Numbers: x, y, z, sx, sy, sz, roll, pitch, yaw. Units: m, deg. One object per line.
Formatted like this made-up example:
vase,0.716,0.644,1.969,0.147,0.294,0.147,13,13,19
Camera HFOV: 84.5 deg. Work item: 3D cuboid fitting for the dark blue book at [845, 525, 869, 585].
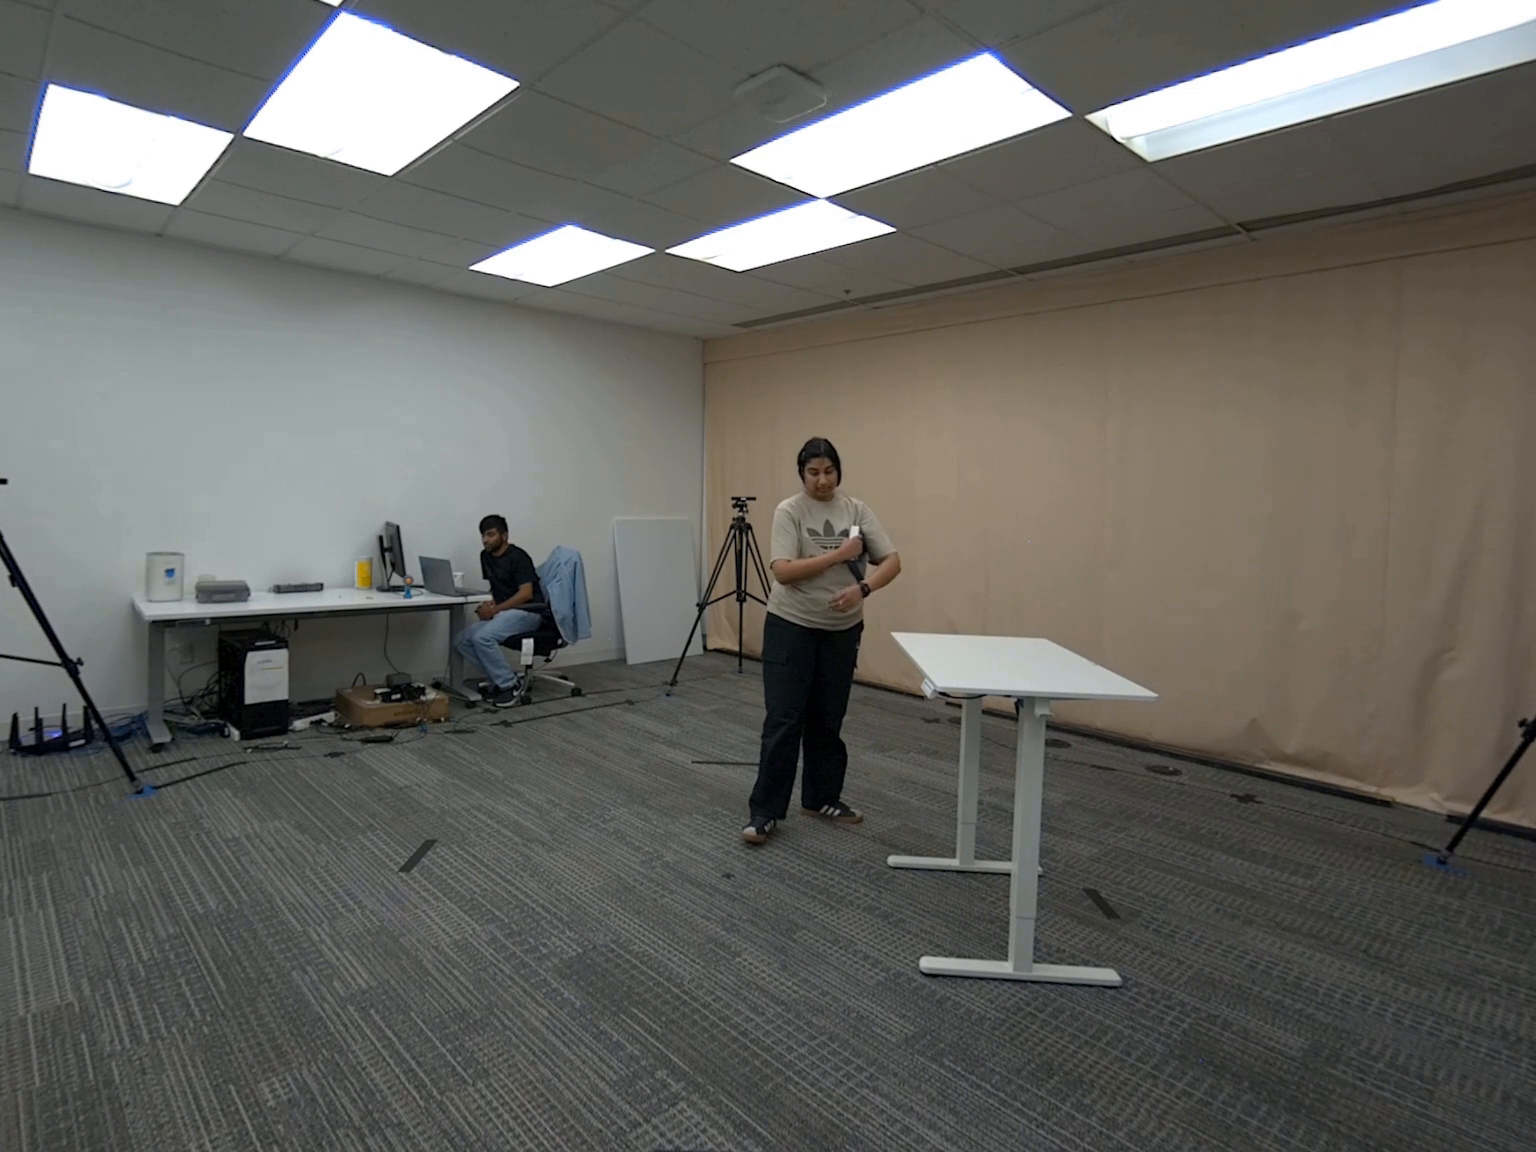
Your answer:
dark blue book,0.359,-0.098,3.597,0.046,0.165,0.238,0,-22,18
